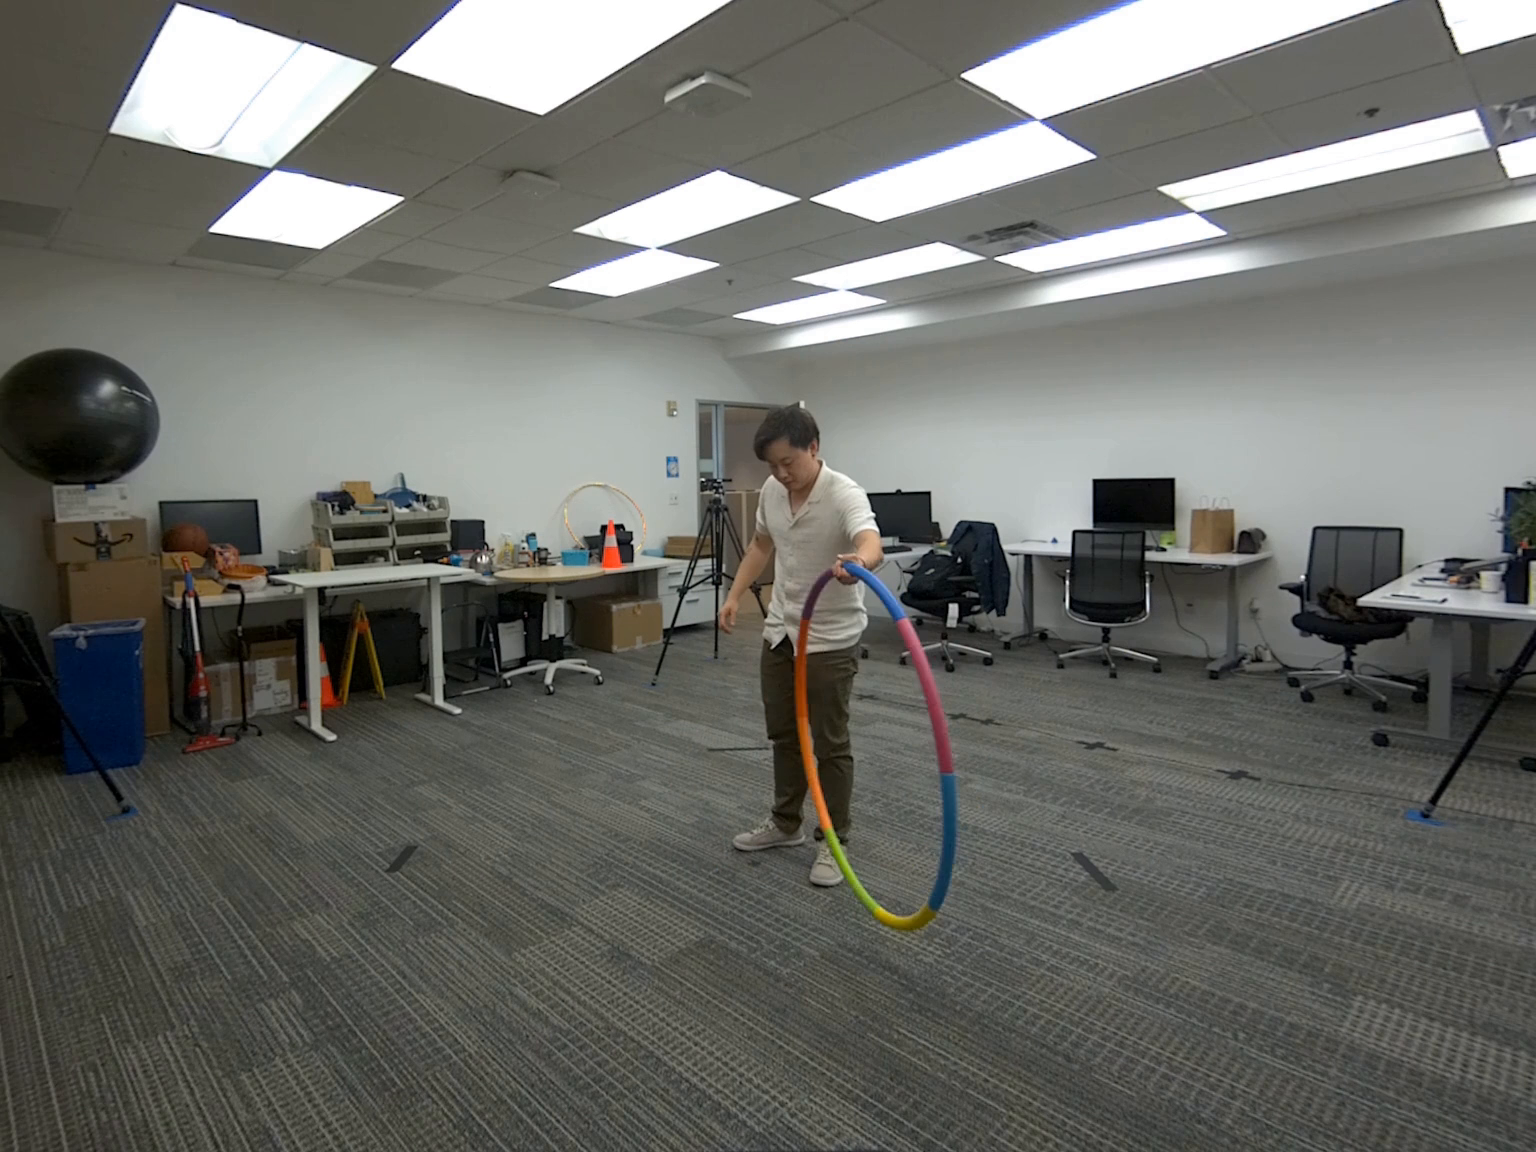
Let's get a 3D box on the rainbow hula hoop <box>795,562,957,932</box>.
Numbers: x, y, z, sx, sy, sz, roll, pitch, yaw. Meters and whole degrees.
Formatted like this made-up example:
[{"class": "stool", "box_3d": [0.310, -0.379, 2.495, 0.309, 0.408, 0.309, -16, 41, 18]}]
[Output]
[{"class": "rainbow hula hoop", "box_3d": [0.262, 0.466, 2.388, 0.035, 0.974, 0.997, -5, 6, -18]}]
